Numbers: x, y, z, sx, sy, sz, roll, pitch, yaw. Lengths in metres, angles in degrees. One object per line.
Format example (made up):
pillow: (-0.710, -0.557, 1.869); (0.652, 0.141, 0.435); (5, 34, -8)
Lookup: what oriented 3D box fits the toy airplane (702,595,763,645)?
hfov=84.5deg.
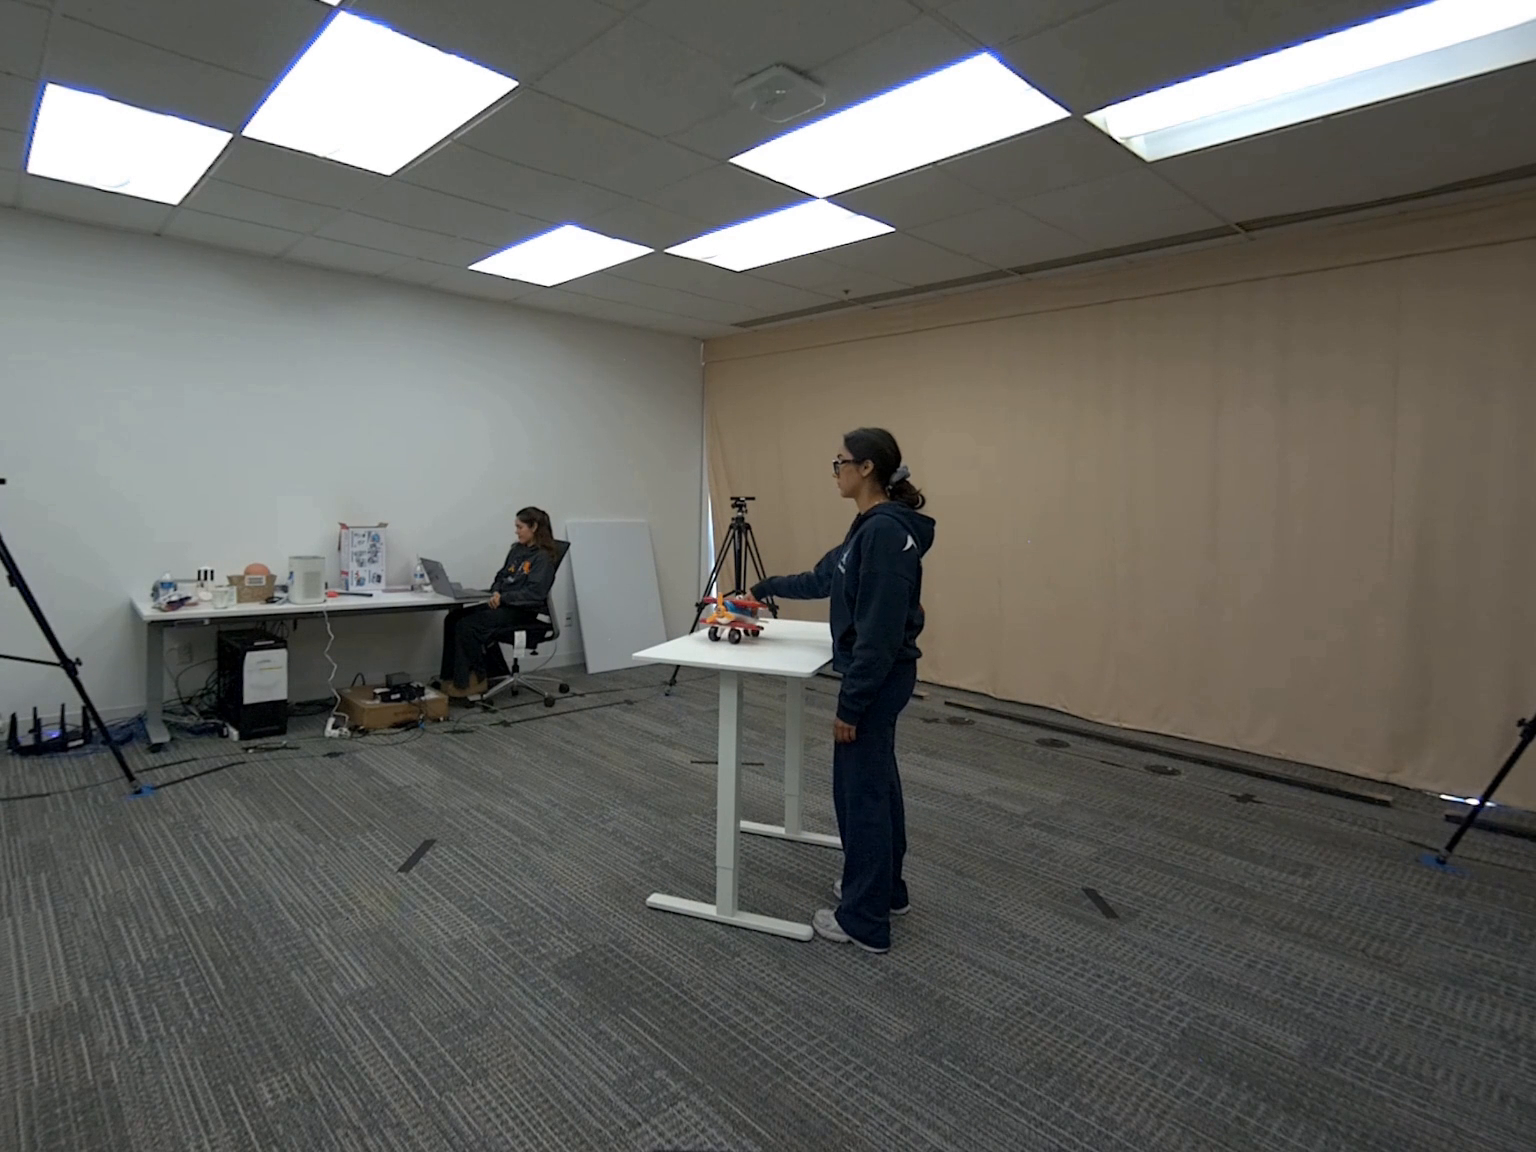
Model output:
toy airplane: (-0.130, 0.156, 3.067); (0.252, 0.156, 0.259); (1, 6, 4)
